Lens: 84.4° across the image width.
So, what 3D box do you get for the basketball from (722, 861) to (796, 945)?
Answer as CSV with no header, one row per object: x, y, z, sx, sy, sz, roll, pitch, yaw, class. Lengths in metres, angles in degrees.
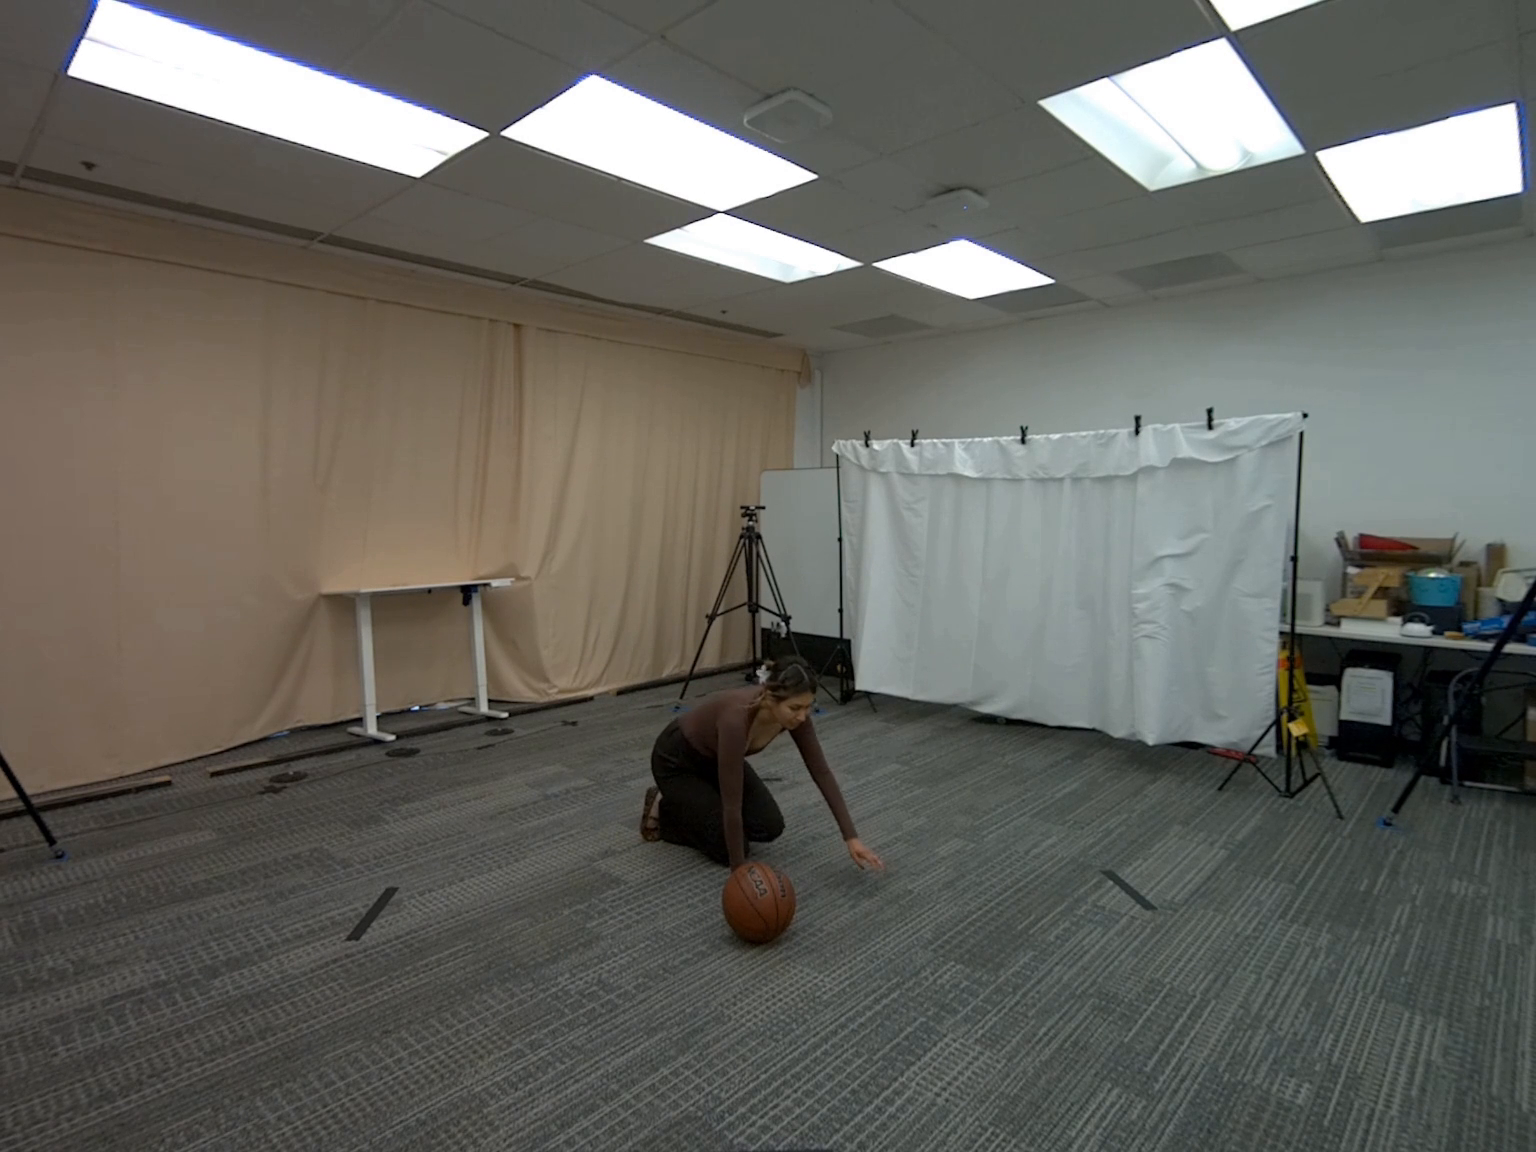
-0.023,1.044,2.712,0.236,0.235,0.237,0,4,-2,basketball
